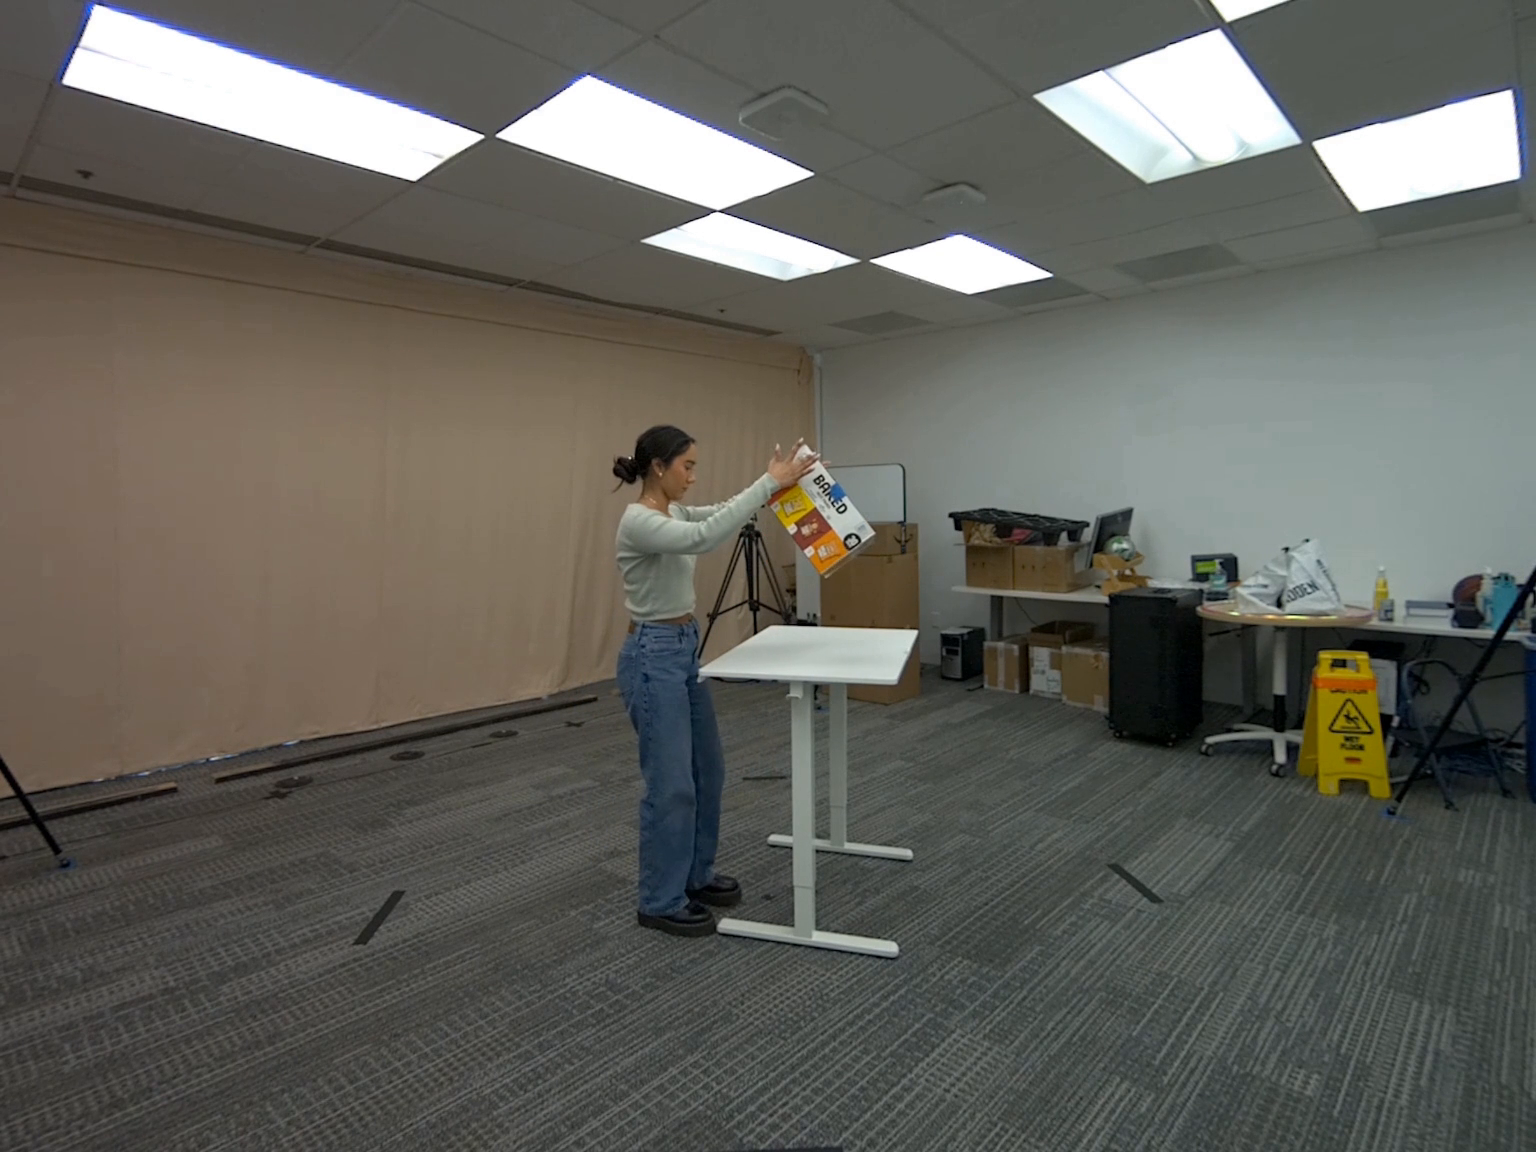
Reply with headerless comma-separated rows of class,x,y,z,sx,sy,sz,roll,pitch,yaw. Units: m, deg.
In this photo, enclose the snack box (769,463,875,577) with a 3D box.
snack box,0.157,-0.195,2.691,0.206,0.344,0.400,-36,-8,4
